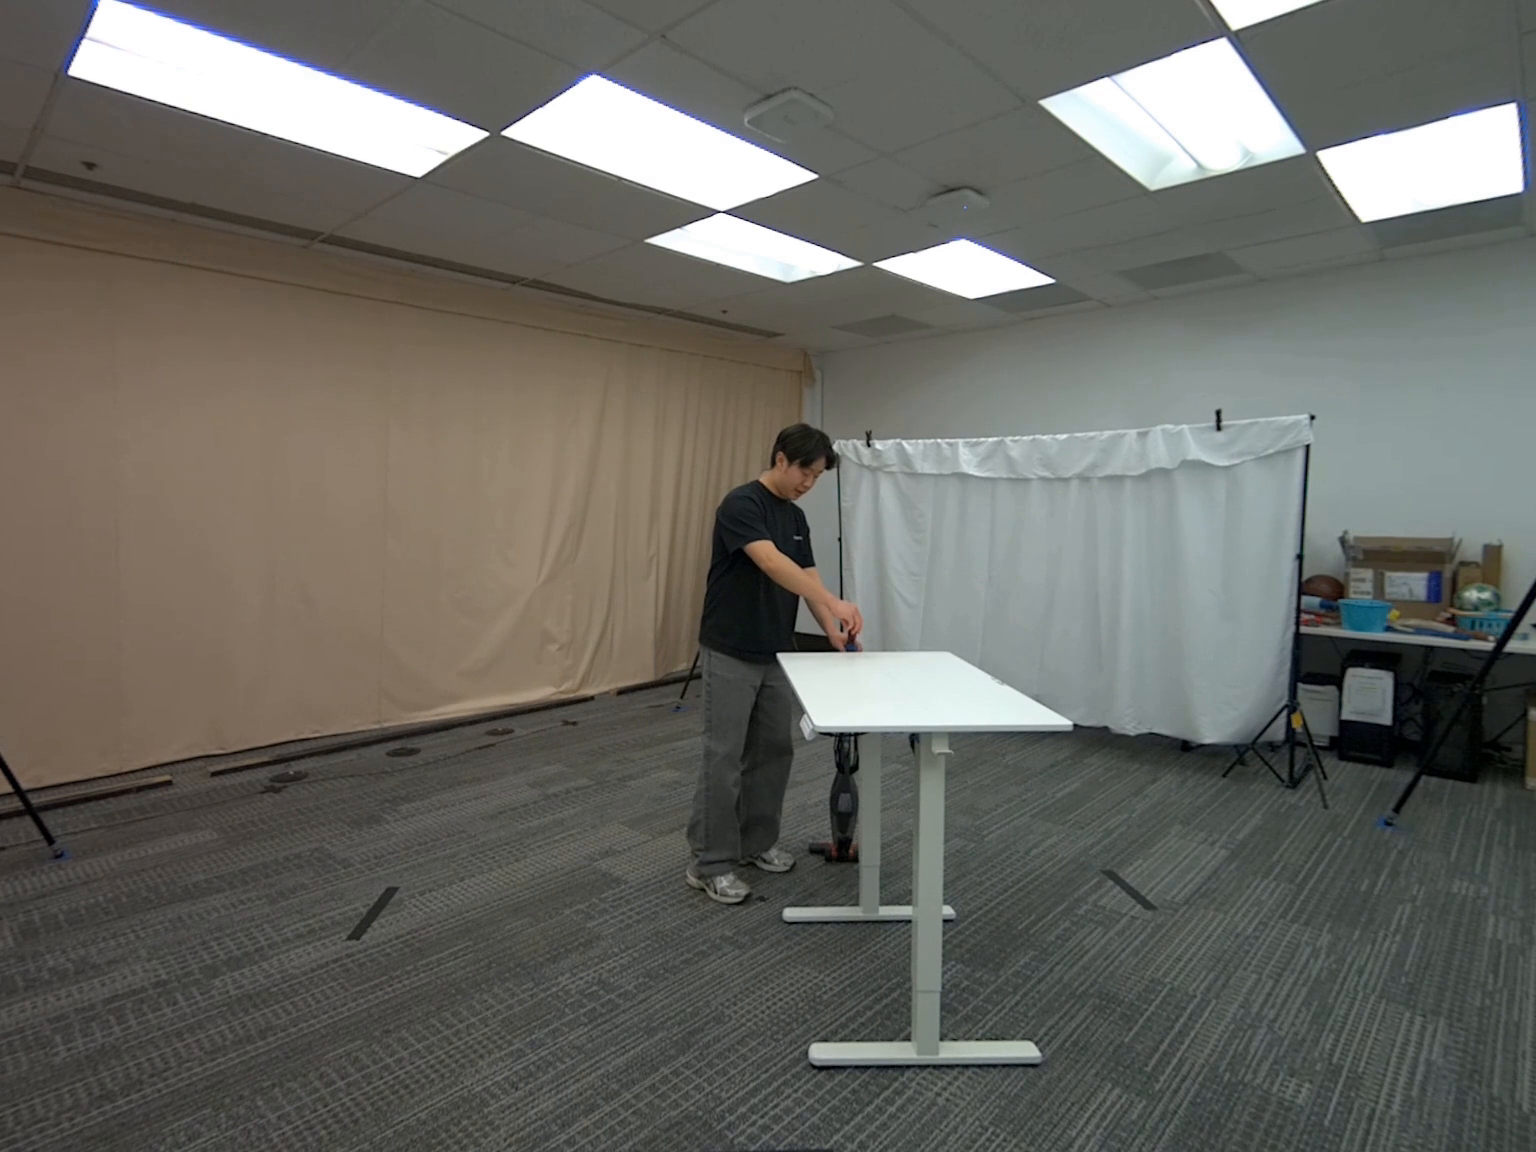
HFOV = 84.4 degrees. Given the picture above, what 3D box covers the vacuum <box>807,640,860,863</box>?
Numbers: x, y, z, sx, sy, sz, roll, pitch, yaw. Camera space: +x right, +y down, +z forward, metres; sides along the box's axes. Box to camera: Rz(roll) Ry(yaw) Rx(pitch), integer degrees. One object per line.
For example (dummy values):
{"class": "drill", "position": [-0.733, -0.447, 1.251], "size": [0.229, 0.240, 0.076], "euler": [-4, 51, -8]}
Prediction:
{"class": "vacuum", "position": [0.293, 0.642, 3.122], "size": [0.253, 1.033, 0.146], "euler": [0, 26, 1]}
